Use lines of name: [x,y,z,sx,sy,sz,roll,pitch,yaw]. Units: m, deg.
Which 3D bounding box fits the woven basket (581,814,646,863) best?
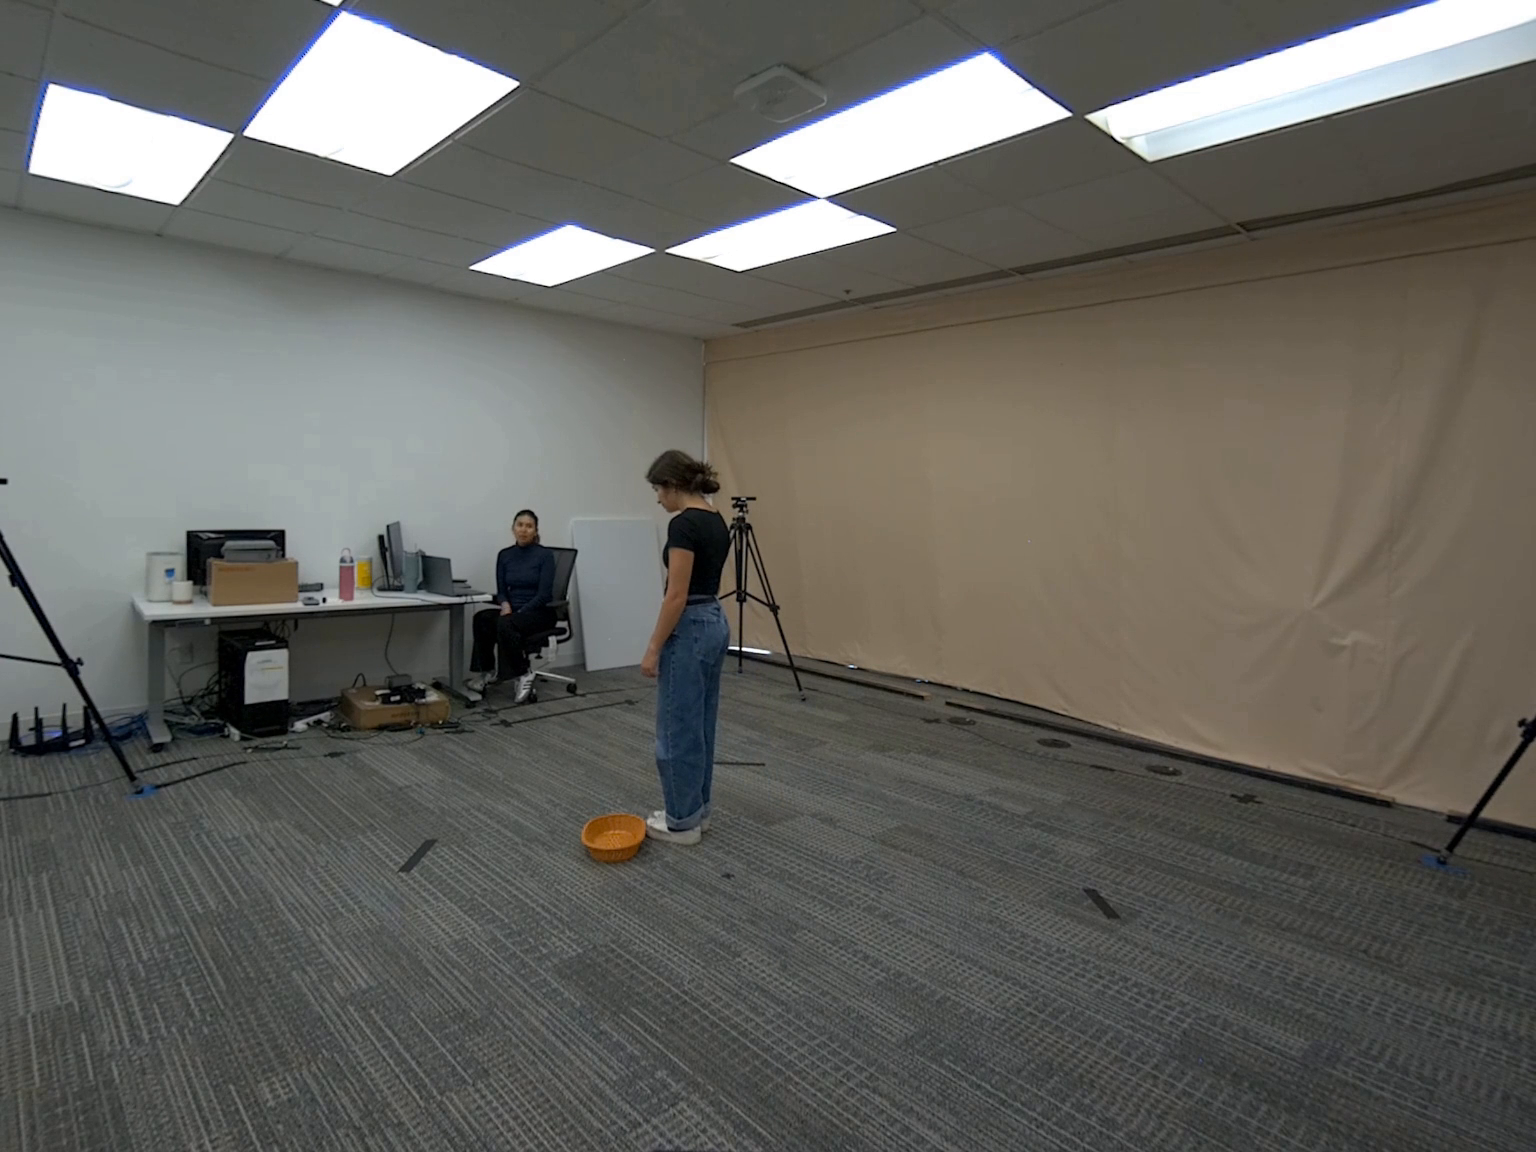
woven basket: [-0.618,1.037,3.327,0.252,0.073,0.352,0,6,-3]
